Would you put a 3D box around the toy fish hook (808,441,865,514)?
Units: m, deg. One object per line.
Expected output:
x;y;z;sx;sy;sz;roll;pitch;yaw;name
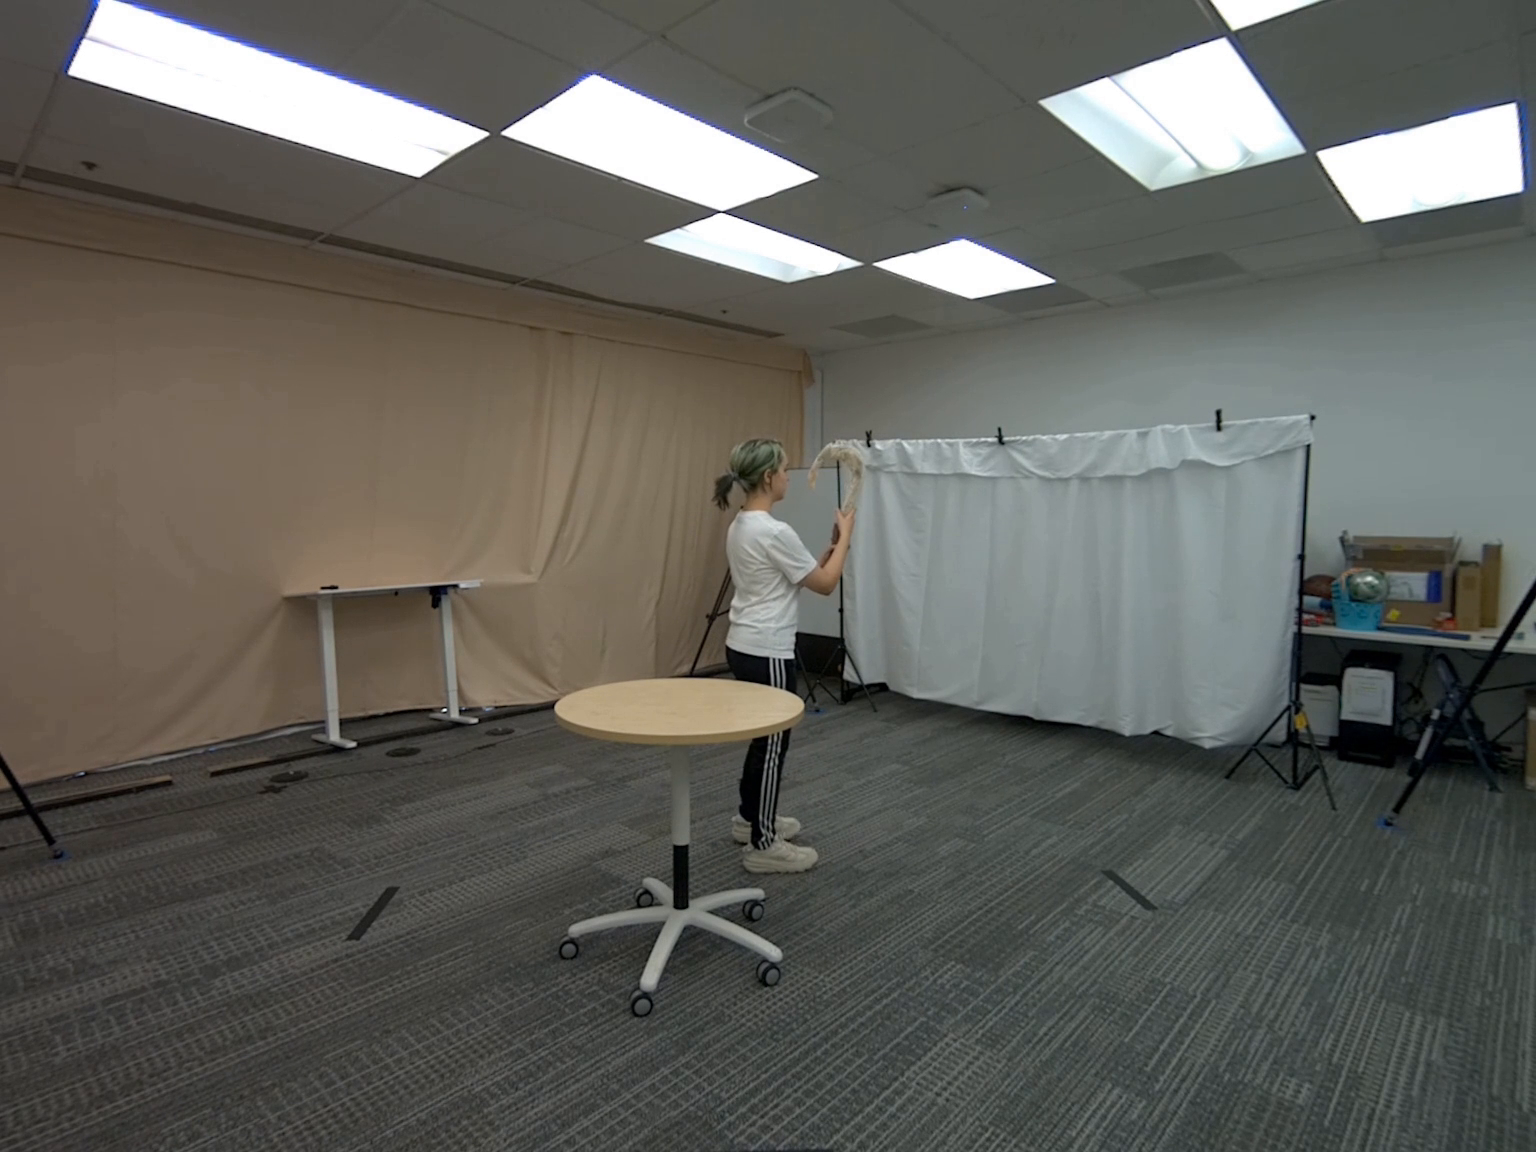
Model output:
0.246;-0.269;3.331;0.231;0.506;0.047;14;4;25;toy fish hook
